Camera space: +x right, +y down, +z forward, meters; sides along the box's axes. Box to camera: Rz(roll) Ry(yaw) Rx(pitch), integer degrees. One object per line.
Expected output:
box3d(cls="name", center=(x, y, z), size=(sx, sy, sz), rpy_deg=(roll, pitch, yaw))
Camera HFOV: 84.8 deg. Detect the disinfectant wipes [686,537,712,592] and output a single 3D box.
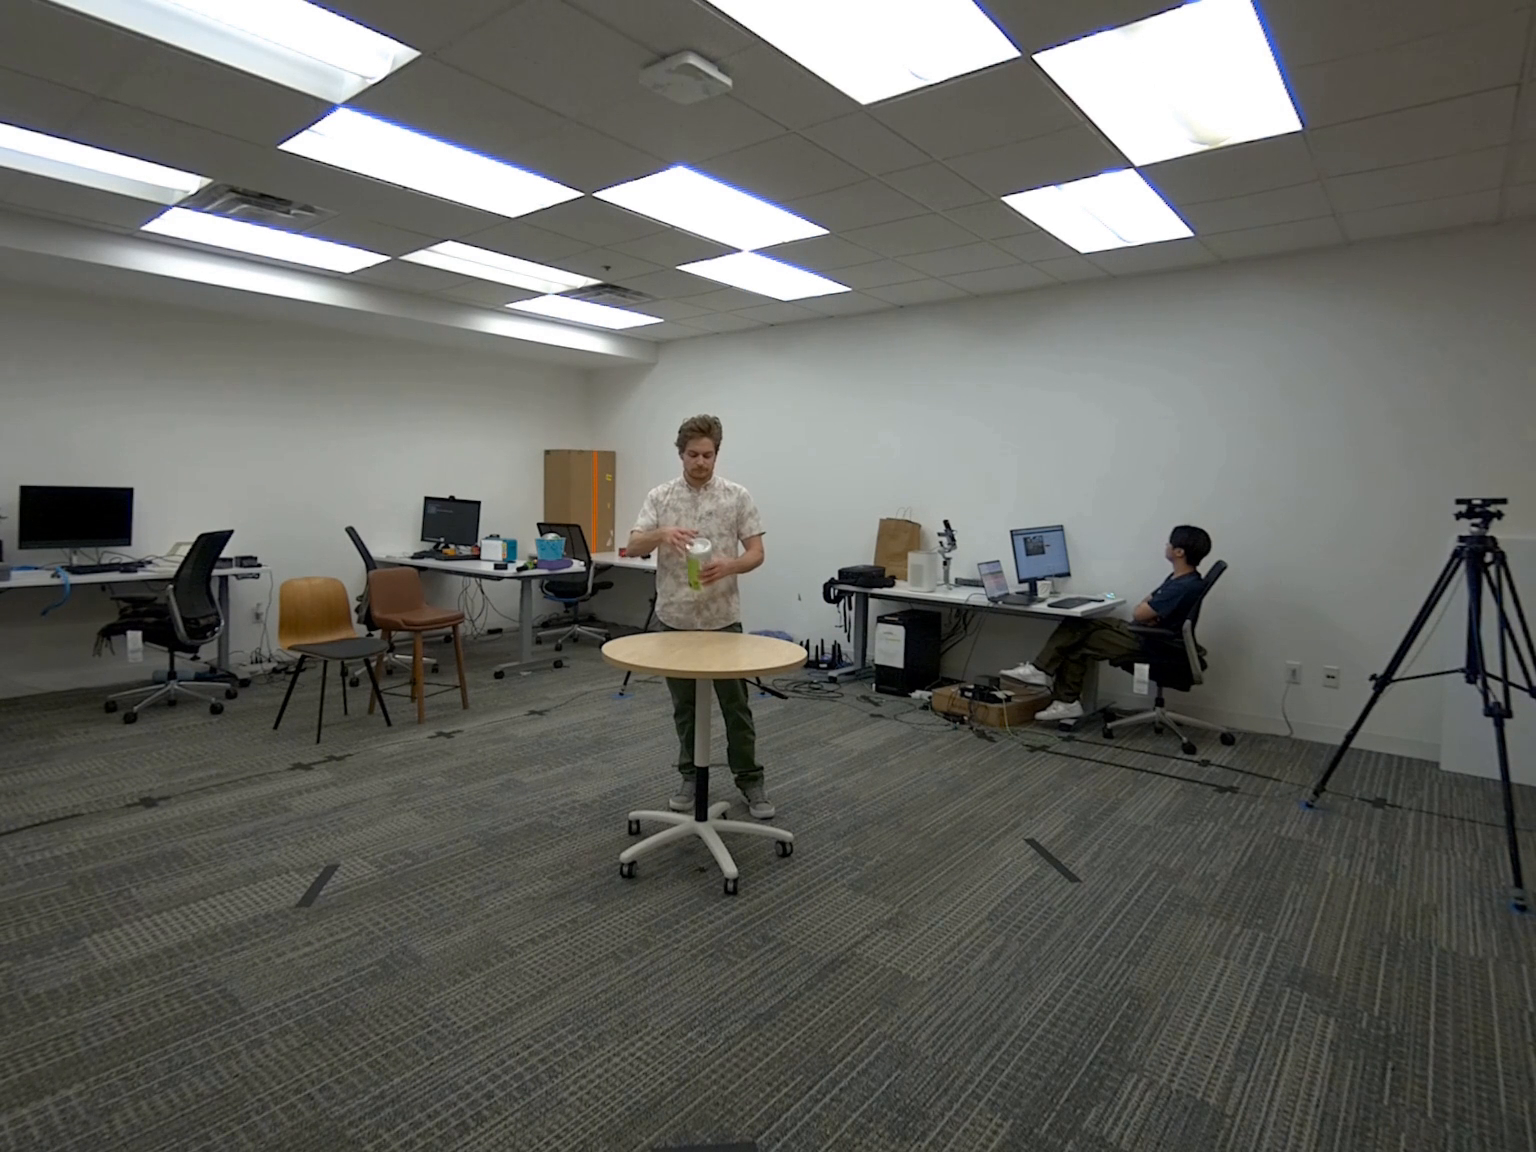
box3d(cls="disinfectant wipes", center=(-0.288, -0.049, 3.476), size=(0.118, 0.211, 0.121), rpy_deg=(-3, 39, 1))
